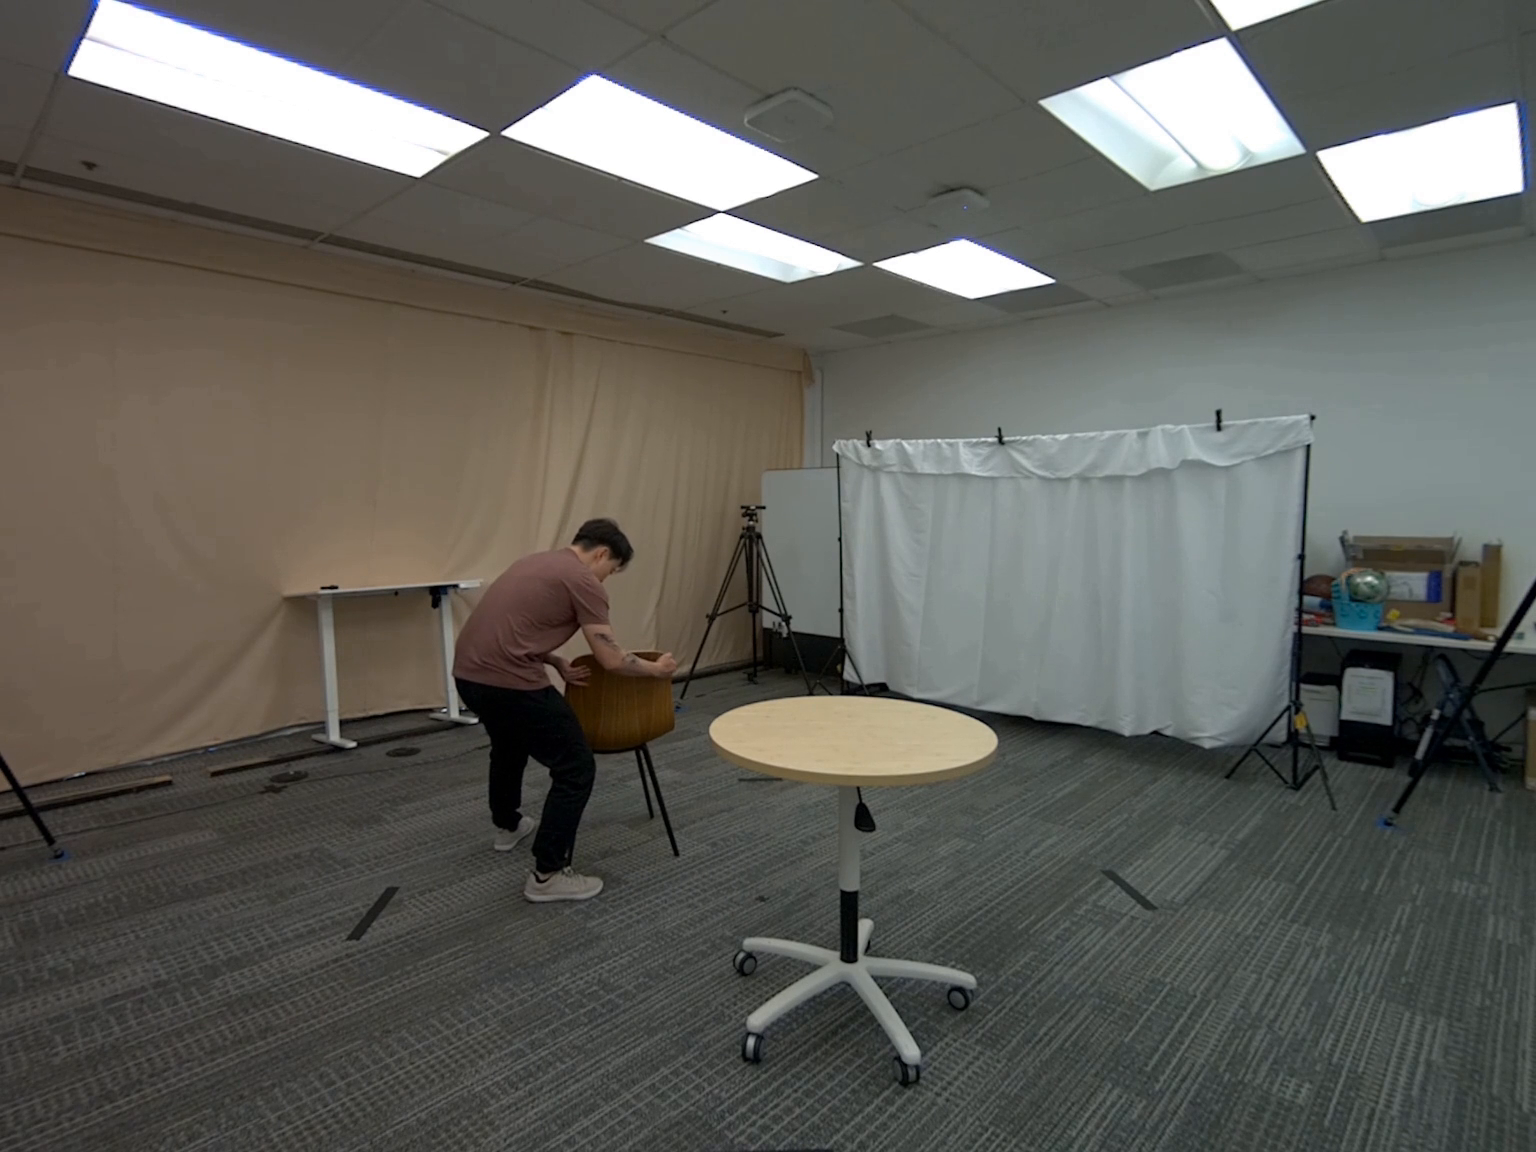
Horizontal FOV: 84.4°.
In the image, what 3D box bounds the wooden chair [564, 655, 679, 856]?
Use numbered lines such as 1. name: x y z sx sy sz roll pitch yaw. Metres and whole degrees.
1. wooden chair: -0.645 0.681 3.479 0.469 0.874 0.535 -1 7 -19
